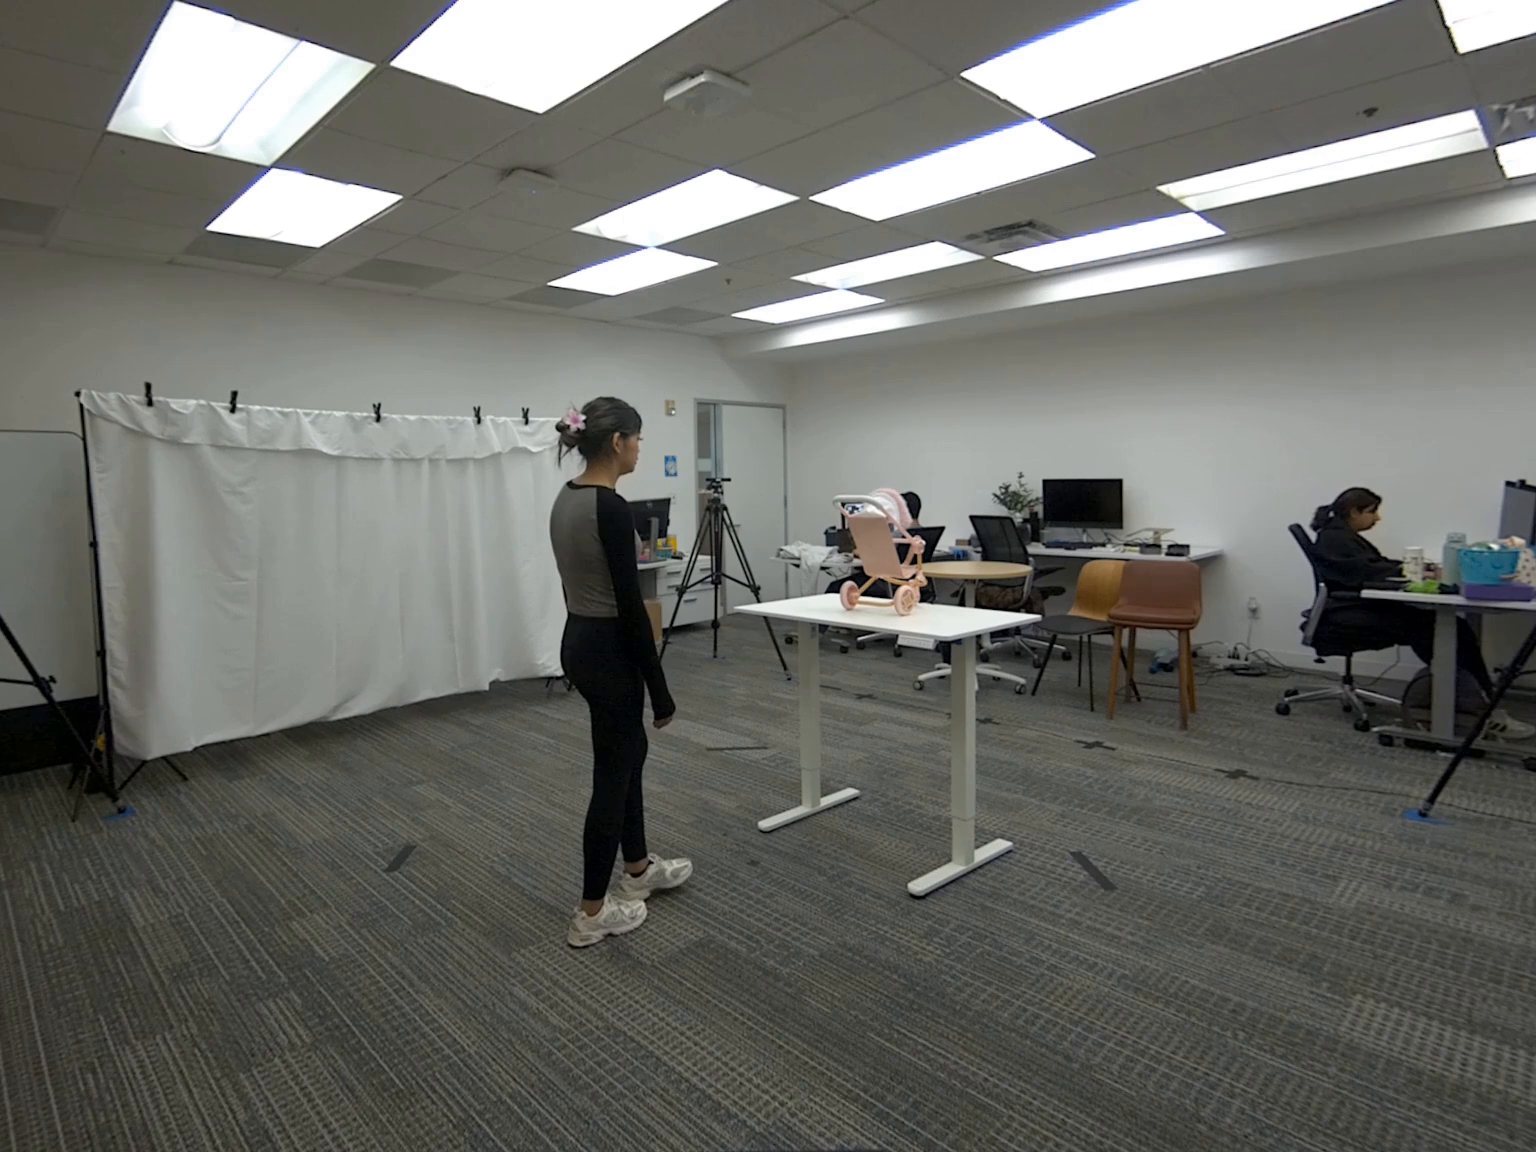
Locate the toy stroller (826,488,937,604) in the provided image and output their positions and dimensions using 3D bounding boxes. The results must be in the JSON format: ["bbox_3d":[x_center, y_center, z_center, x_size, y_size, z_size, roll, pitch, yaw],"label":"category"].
[{"bbox_3d":[0.452,-0.091,3.251,0.336,0.527,0.290,-23,18,-40],"label":"toy stroller"}]
